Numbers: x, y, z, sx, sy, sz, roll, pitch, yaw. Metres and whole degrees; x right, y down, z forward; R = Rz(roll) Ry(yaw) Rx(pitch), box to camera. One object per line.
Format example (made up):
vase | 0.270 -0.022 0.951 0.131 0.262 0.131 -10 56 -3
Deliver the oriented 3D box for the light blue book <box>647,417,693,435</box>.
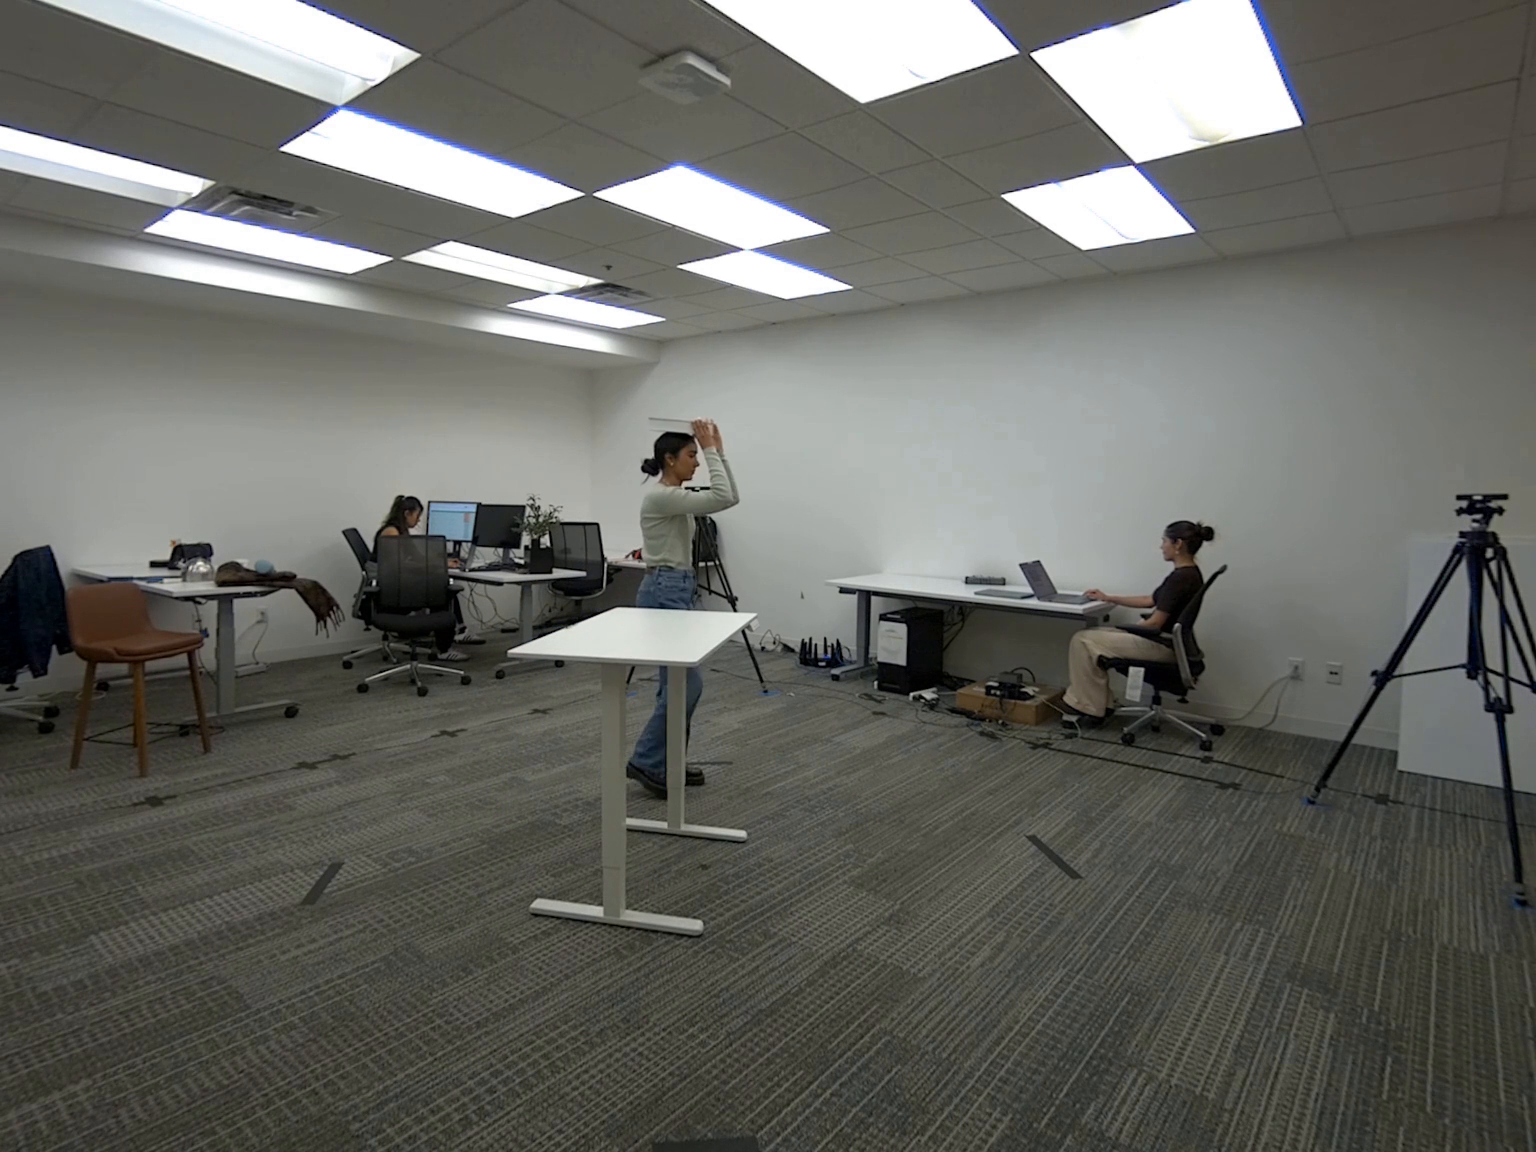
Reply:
light blue book | -0.425 -0.698 3.927 0.266 0.058 0.189 8 10 16
